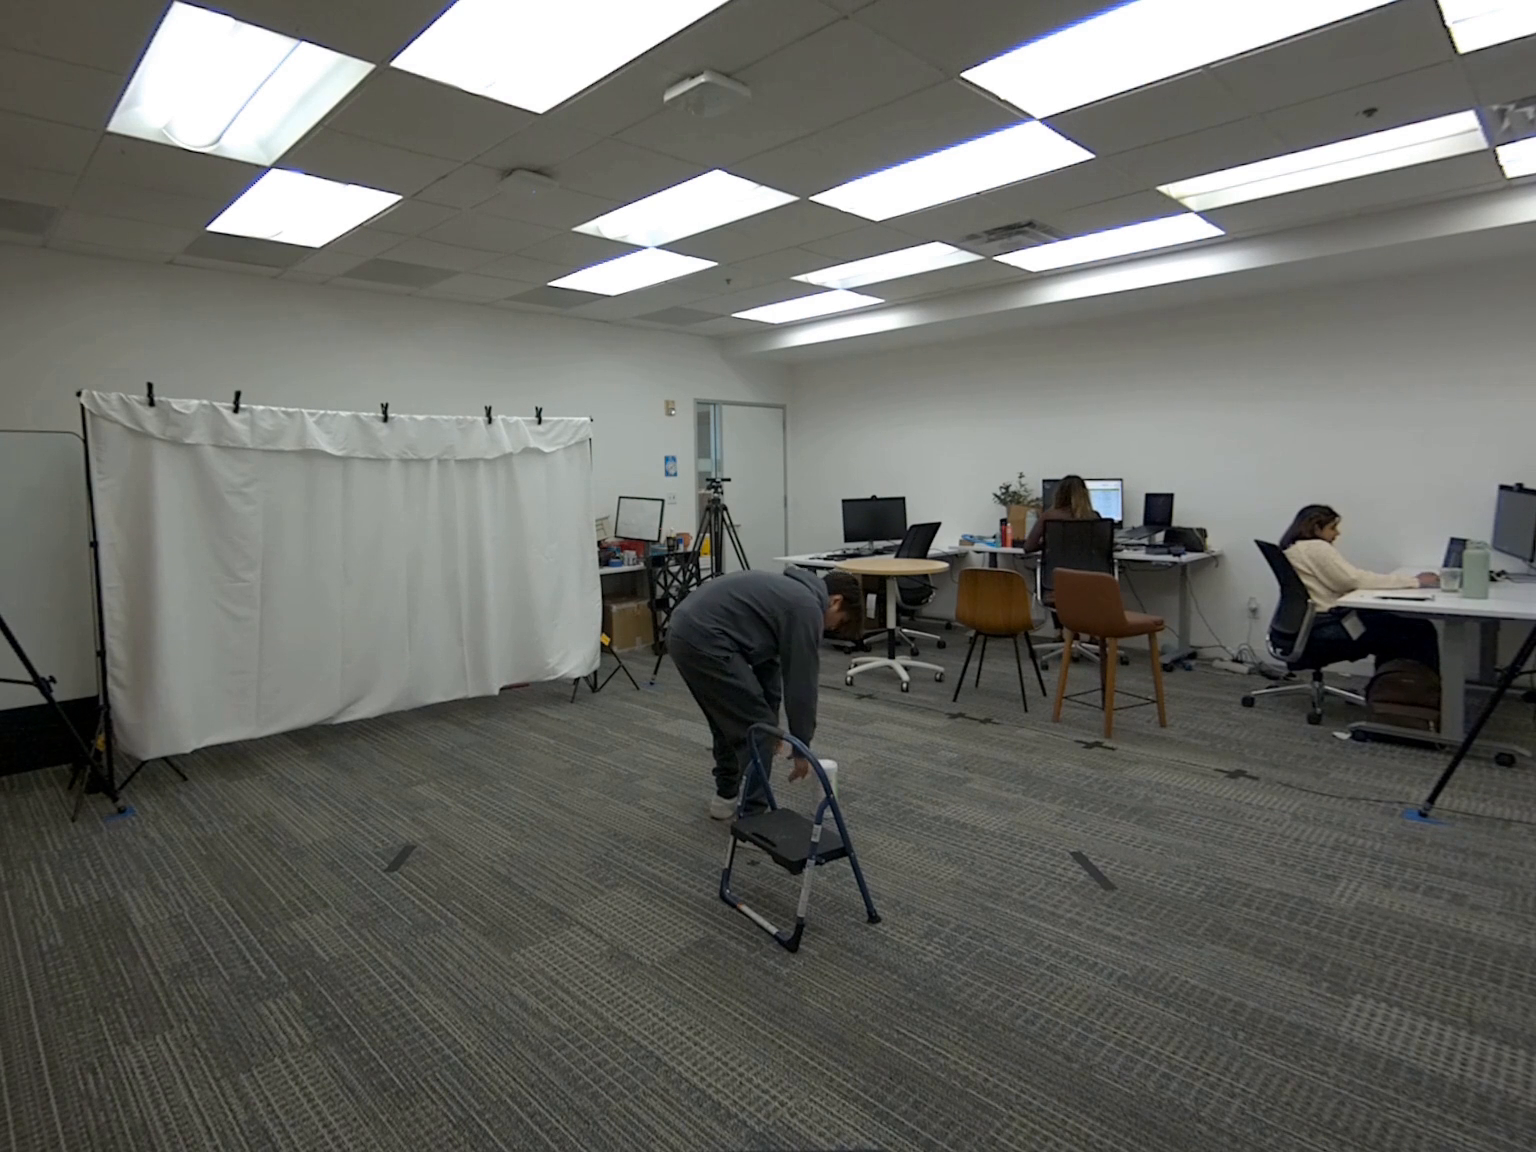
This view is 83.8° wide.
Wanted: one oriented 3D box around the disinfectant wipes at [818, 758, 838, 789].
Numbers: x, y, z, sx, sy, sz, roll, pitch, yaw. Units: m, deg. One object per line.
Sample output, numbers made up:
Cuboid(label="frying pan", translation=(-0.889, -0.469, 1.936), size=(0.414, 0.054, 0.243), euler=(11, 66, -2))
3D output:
Cuboid(label="disinfectant wipes", translation=(0.233, 0.877, 3.534), size=(0.118, 0.217, 0.118), euler=(0, 2, -2))
